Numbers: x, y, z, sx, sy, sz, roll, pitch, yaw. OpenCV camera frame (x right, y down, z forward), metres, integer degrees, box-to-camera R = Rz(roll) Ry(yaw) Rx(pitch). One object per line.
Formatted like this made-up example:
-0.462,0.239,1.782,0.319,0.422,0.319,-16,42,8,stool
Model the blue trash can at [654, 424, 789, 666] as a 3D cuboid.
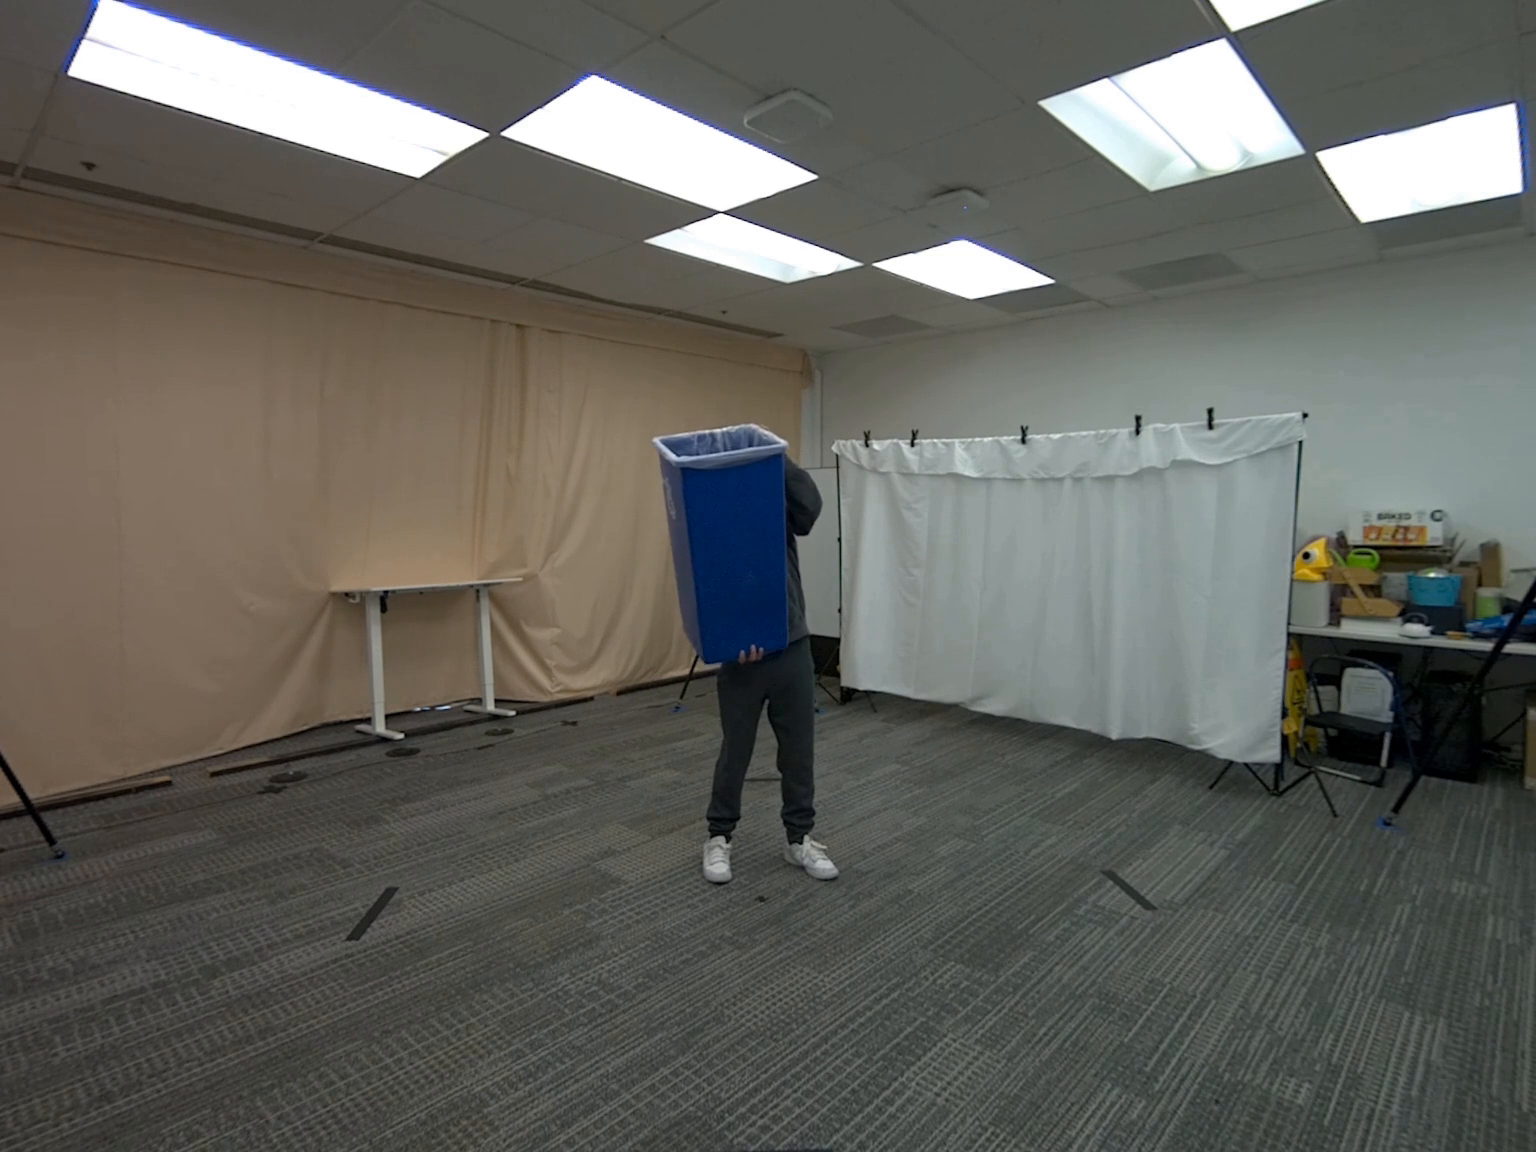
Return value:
-0.143,-0.113,2.837,0.373,0.704,0.384,-10,20,-15,blue trash can
